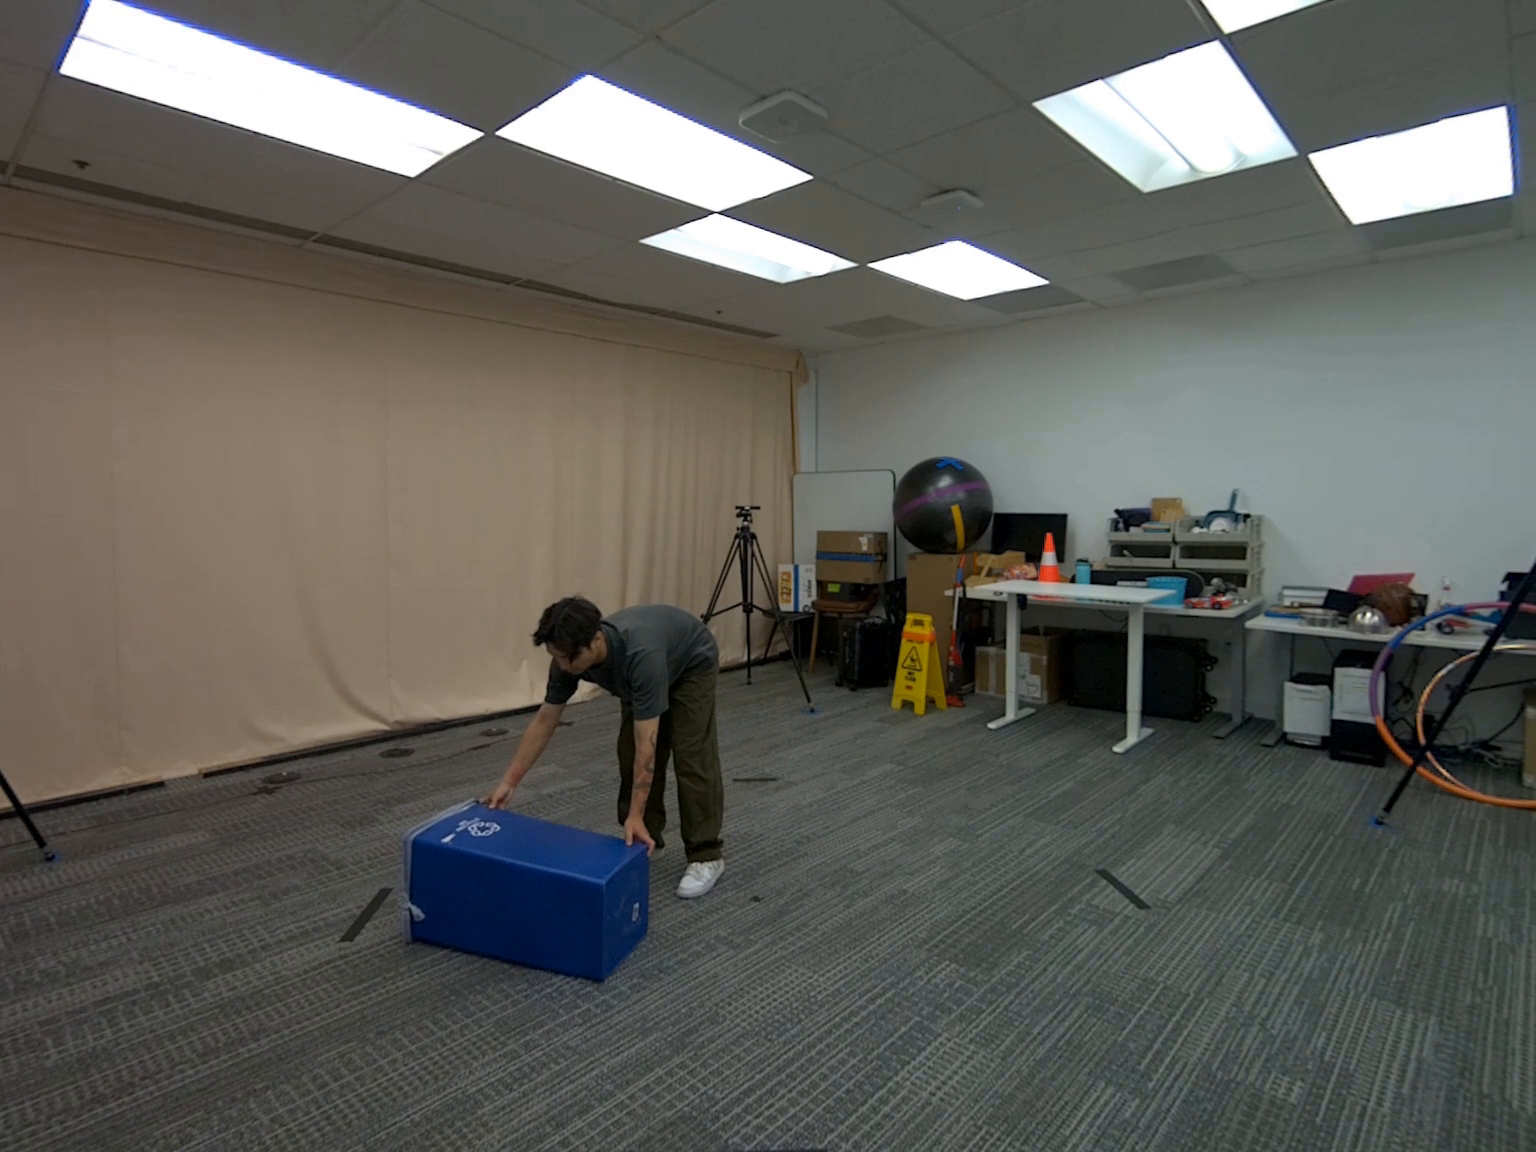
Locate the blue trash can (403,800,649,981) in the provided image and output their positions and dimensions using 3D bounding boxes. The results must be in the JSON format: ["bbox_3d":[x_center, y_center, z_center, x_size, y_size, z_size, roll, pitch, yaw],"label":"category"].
[{"bbox_3d":[-0.771,0.995,2.715,0.730,0.373,0.370,3,4,21],"label":"blue trash can"}]
